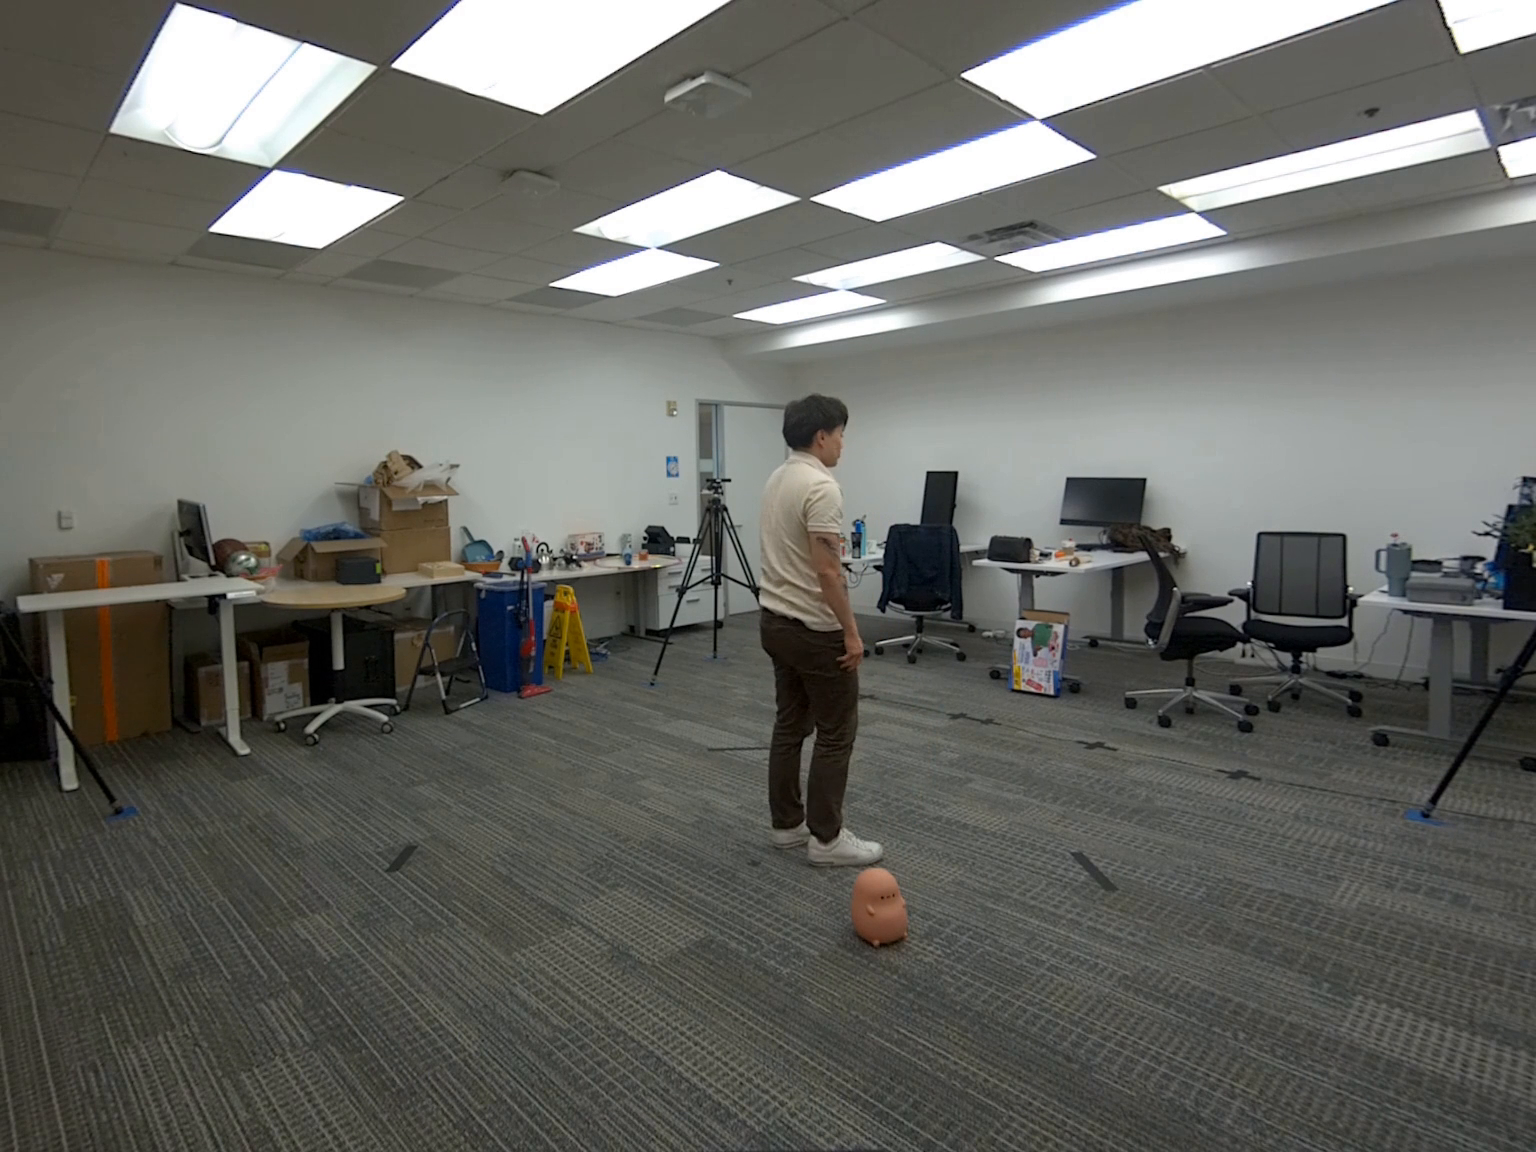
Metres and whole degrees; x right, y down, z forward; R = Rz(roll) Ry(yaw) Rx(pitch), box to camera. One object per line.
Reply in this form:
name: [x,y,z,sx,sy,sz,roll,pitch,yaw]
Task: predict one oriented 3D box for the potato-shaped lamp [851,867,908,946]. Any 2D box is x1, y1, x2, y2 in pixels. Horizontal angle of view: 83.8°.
potato-shaped lamp: [0.343,0.998,2.605,0.161,0.197,0.175,-3,3,-23]
